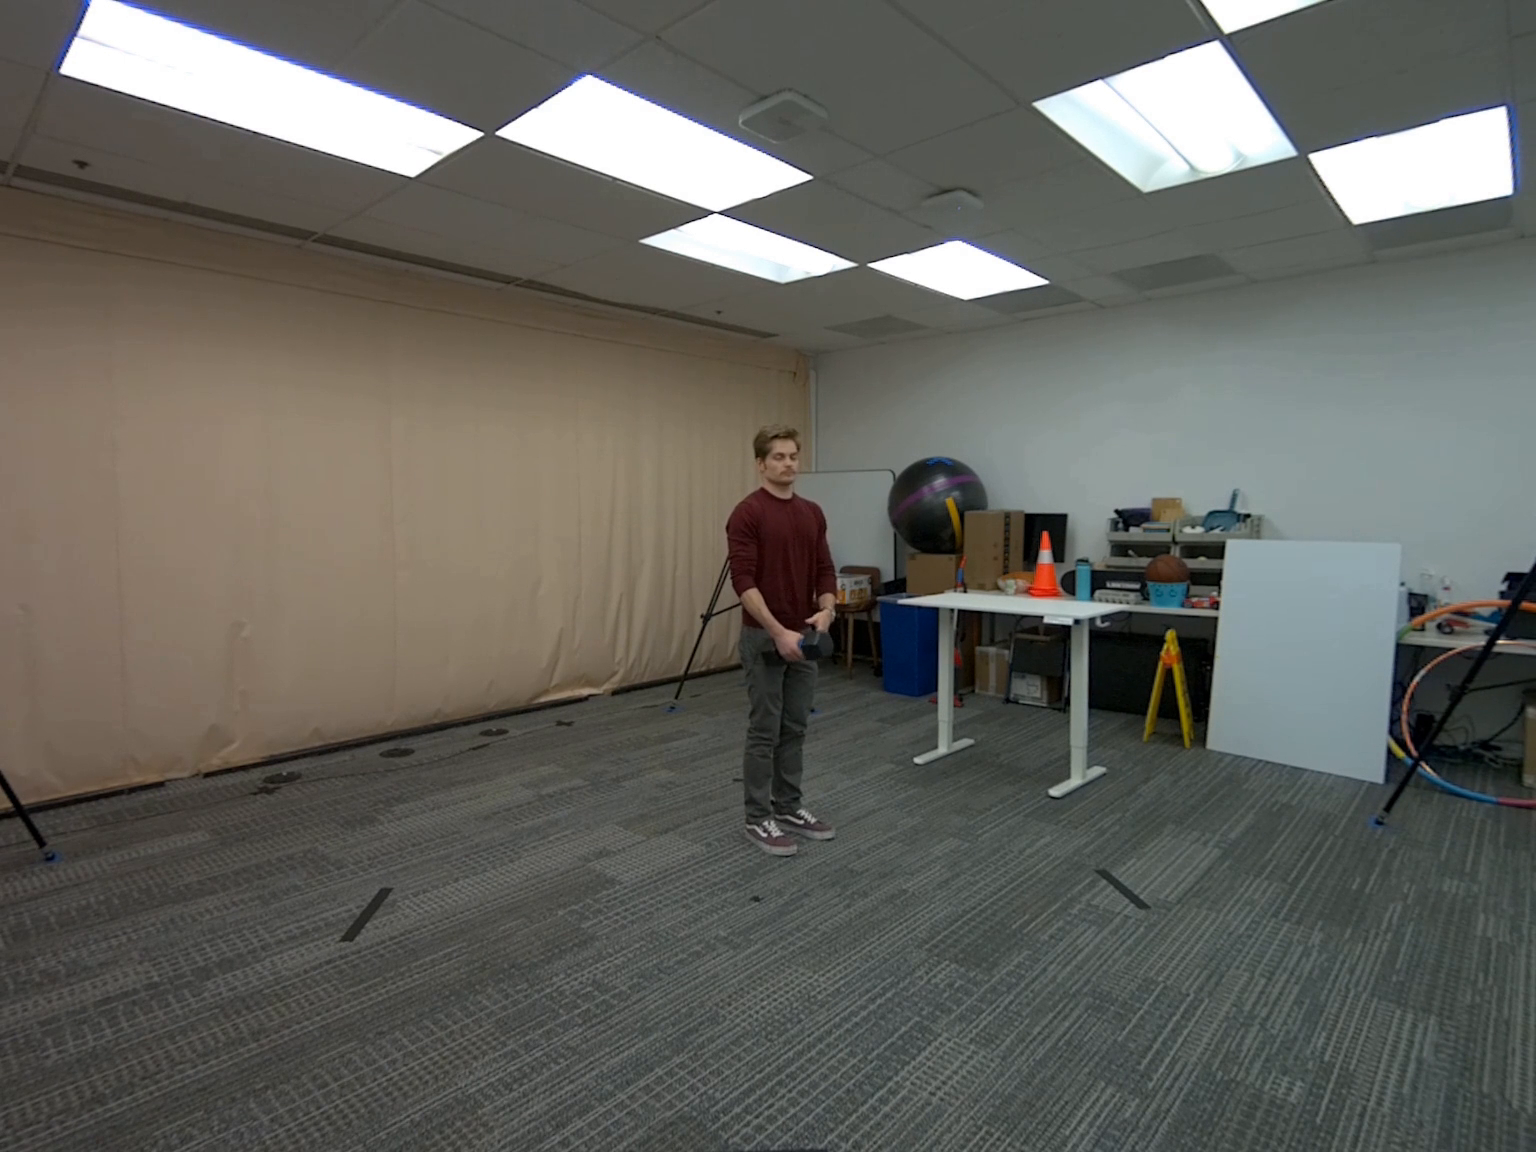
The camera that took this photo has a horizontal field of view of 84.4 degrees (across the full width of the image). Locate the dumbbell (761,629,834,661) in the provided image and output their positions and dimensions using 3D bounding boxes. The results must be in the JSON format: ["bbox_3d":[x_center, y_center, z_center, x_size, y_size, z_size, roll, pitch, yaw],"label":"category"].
[{"bbox_3d":[0.107,0.284,3.254,0.301,0.122,0.107,-13,14,45],"label":"dumbbell"}]
